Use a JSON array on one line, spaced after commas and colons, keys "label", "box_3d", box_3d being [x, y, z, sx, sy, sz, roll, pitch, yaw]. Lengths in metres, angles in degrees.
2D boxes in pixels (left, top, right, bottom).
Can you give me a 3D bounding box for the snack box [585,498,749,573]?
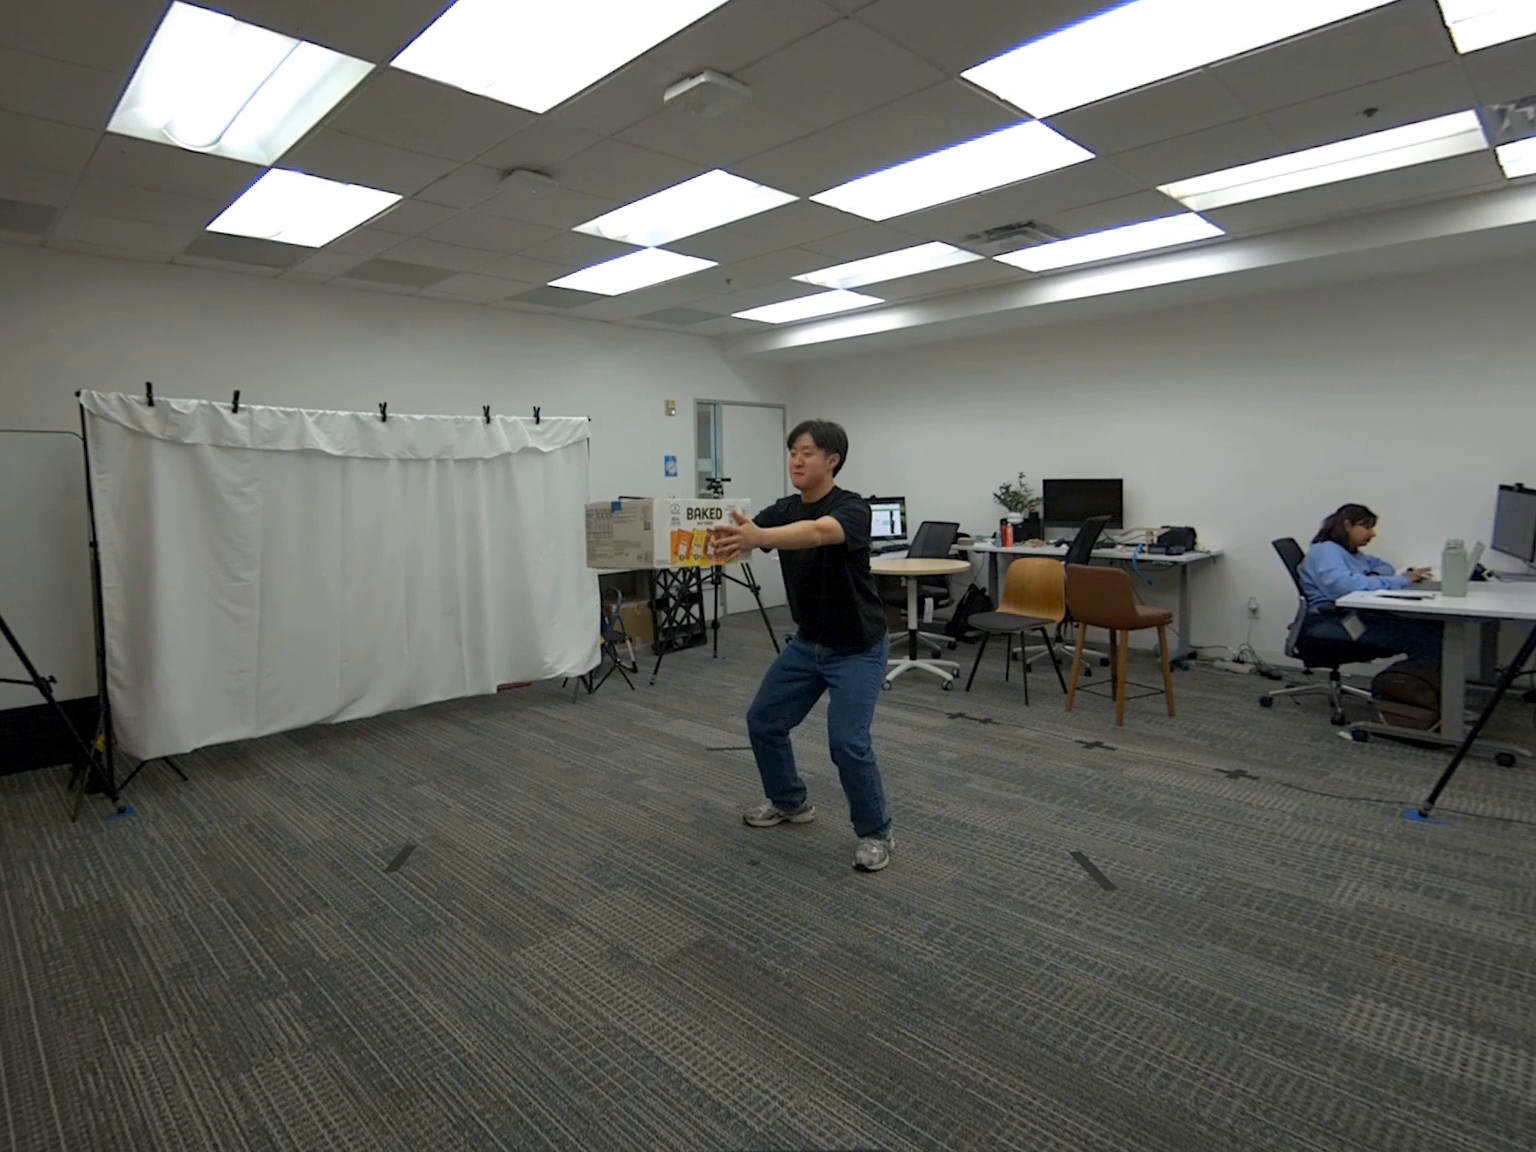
[{"label": "snack box", "box_3d": [-0.308, -0.132, 2.686, 0.350, 0.205, 0.394, 0, 3, 44]}]
